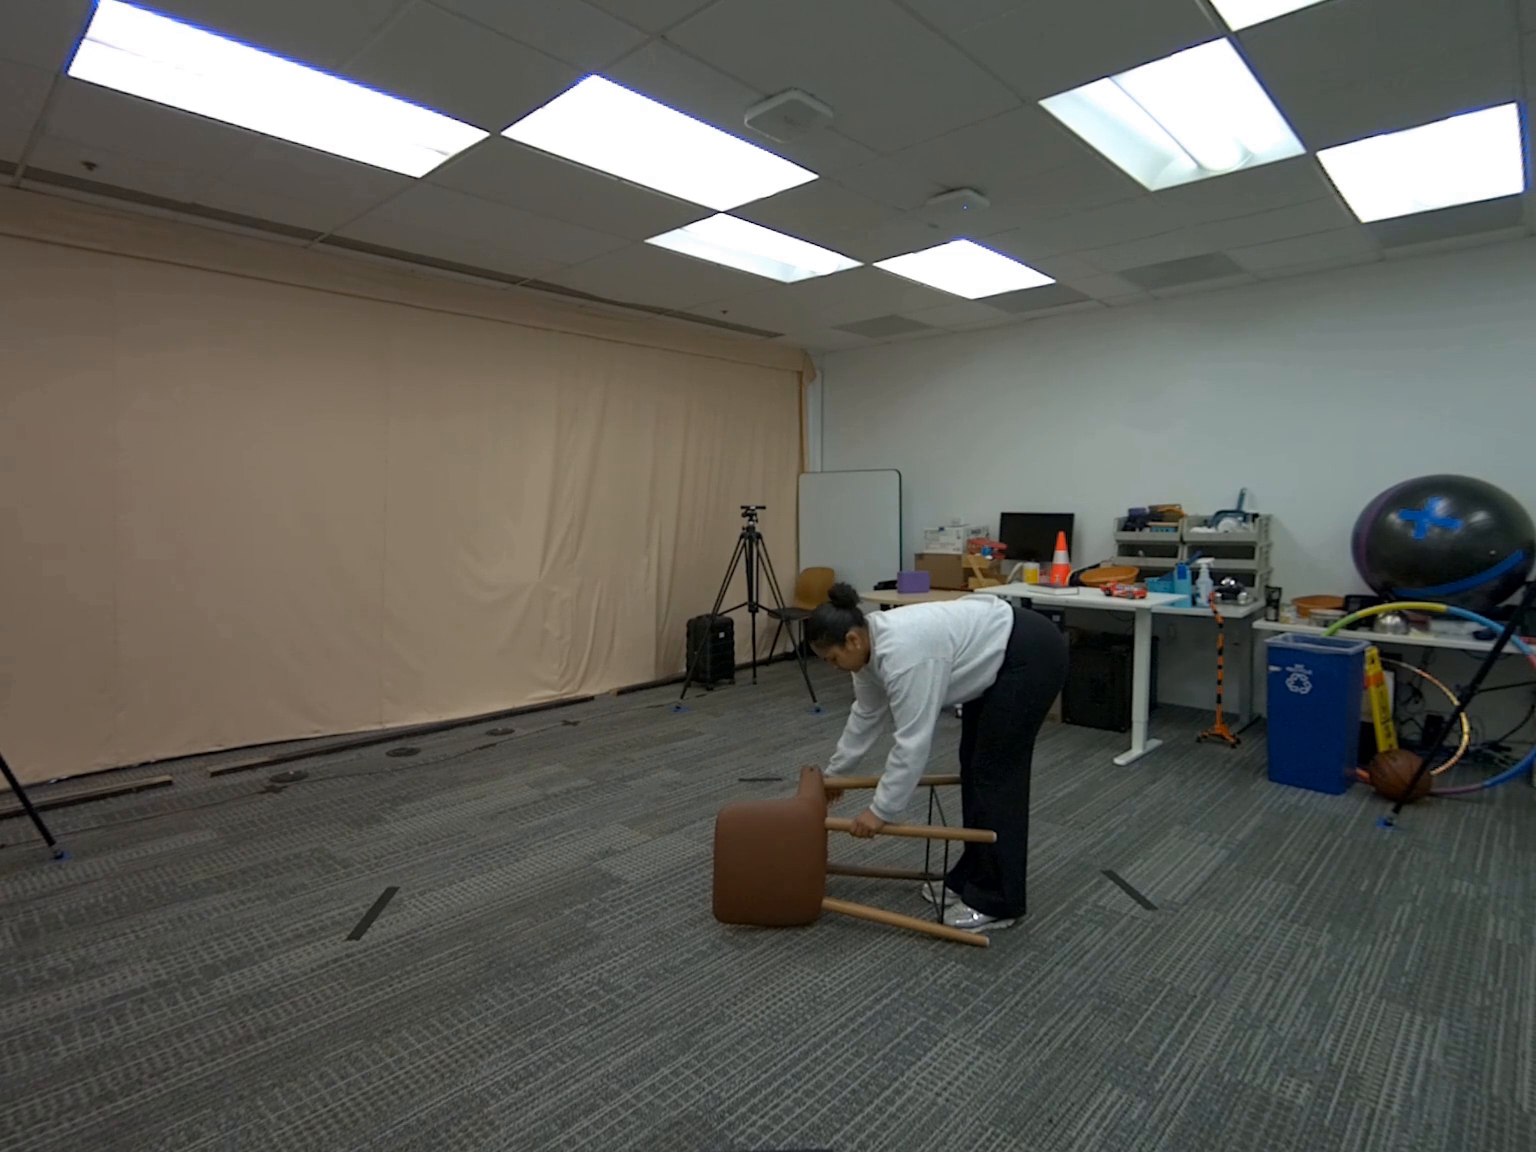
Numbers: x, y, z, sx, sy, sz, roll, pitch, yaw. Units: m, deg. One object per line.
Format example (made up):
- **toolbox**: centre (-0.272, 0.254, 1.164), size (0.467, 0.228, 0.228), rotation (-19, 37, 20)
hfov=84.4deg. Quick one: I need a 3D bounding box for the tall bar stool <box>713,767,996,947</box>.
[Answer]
- **tall bar stool**: centre (0.282, 0.940, 2.887), size (0.894, 0.454, 0.467), rotation (2, 8, 4)
